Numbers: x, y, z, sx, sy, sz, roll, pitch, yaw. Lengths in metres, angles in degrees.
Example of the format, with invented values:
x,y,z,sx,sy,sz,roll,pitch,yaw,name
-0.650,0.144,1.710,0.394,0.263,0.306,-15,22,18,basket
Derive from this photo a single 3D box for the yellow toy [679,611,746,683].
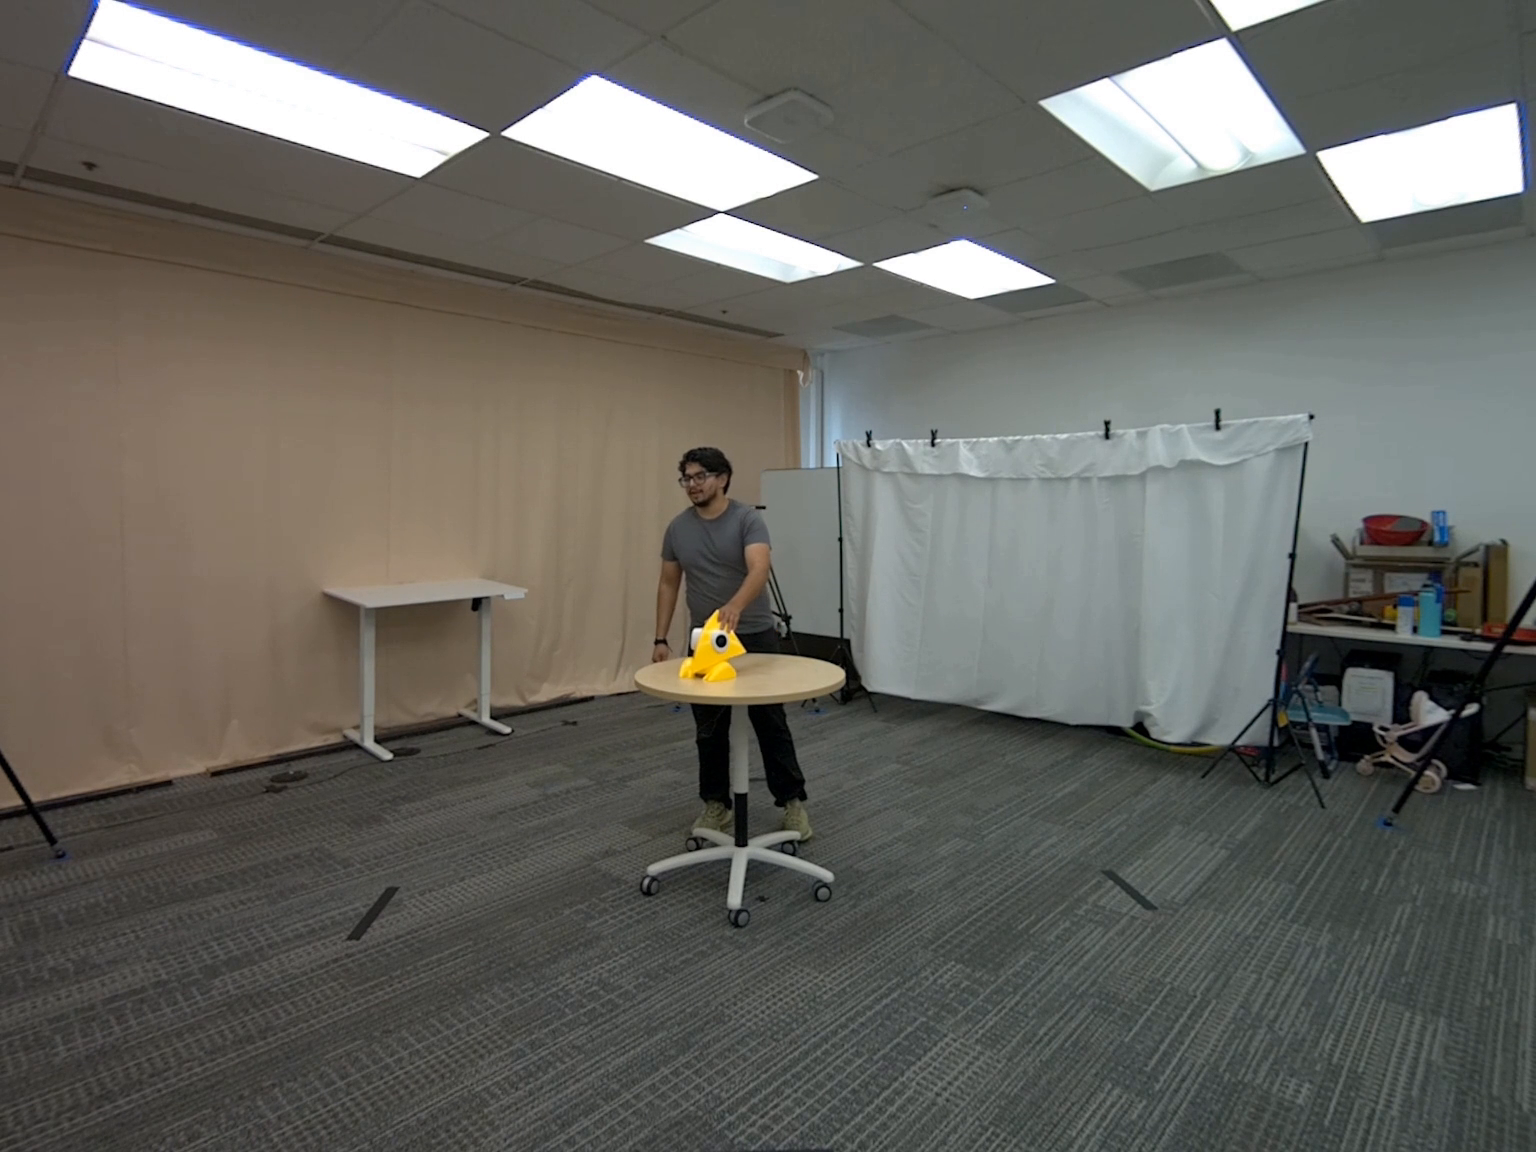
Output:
x,y,z,sx,sy,sz,roll,pitch,yaw,name
-0.207,0.243,3.034,0.211,0.230,0.188,2,5,34,yellow toy
